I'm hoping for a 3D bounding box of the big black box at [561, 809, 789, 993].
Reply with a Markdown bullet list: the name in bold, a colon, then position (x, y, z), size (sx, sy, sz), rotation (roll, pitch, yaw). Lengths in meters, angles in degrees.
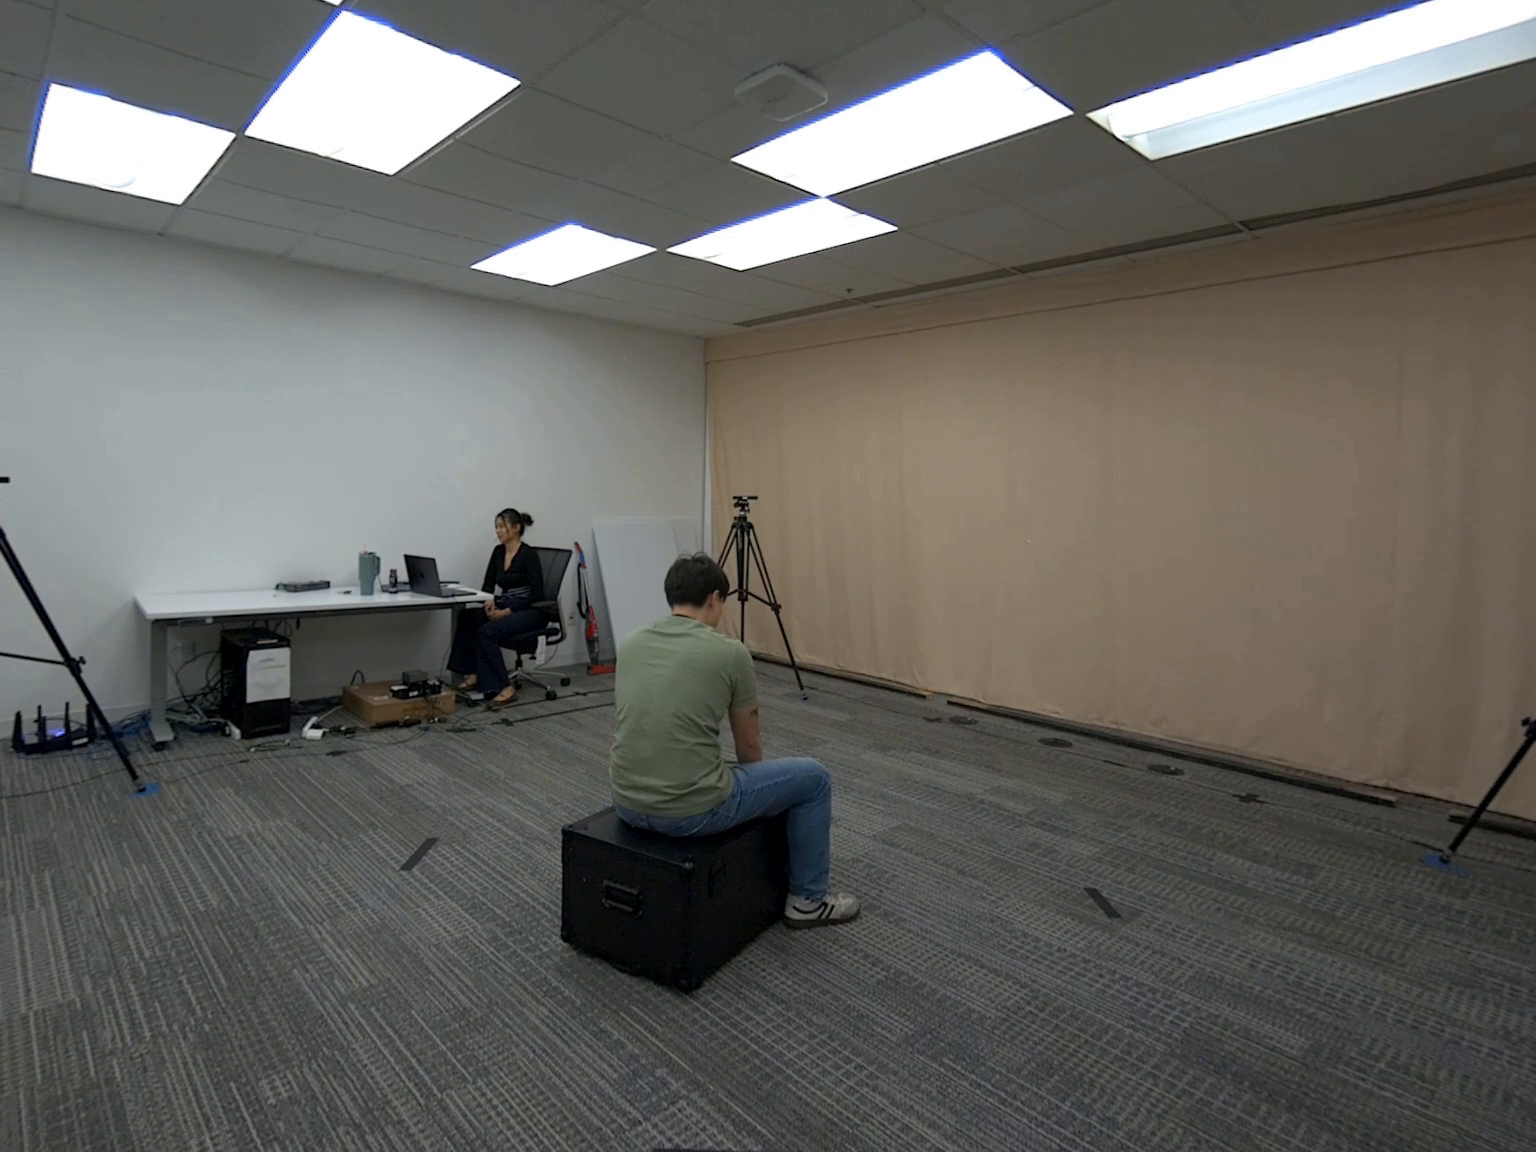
- **big black box**: position (-0.219, 0.944, 2.784), size (0.533, 0.395, 0.845), rotation (3, 6, 30)
